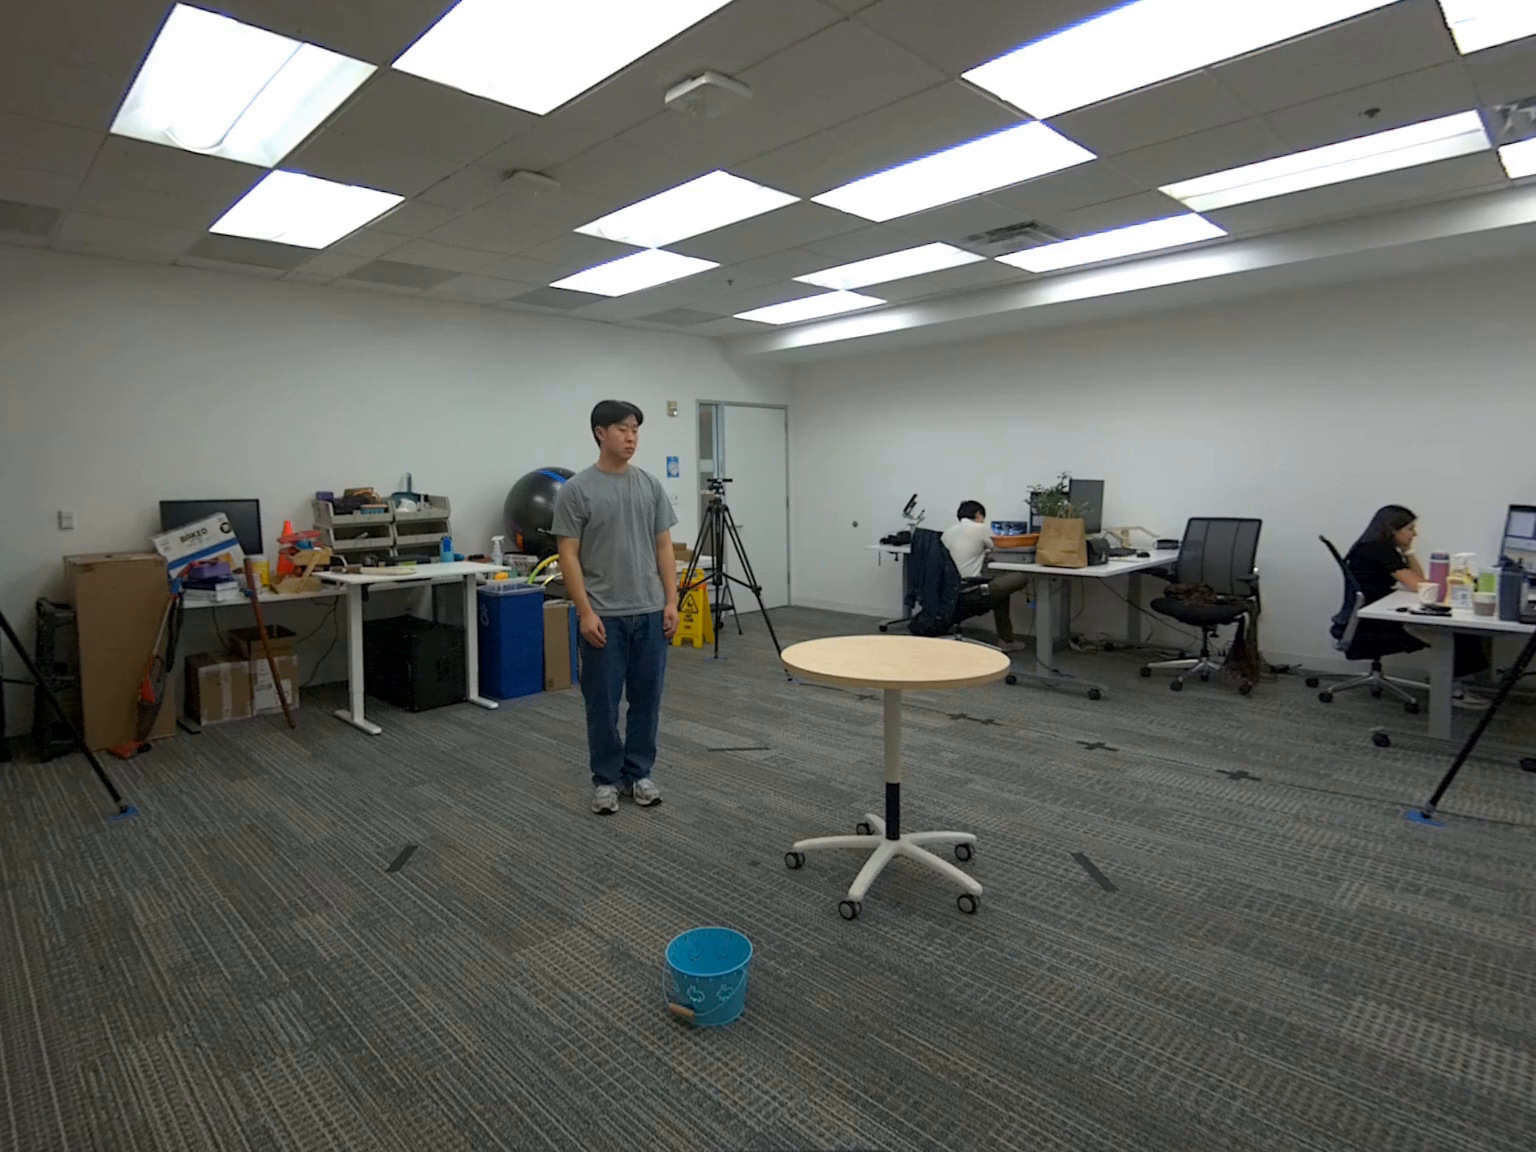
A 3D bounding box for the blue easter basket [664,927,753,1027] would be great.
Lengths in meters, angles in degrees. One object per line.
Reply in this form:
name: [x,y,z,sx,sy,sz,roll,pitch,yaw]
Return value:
blue easter basket: [-0.158,1.068,2.276,0.243,0.155,0.245,-1,6,-2]
